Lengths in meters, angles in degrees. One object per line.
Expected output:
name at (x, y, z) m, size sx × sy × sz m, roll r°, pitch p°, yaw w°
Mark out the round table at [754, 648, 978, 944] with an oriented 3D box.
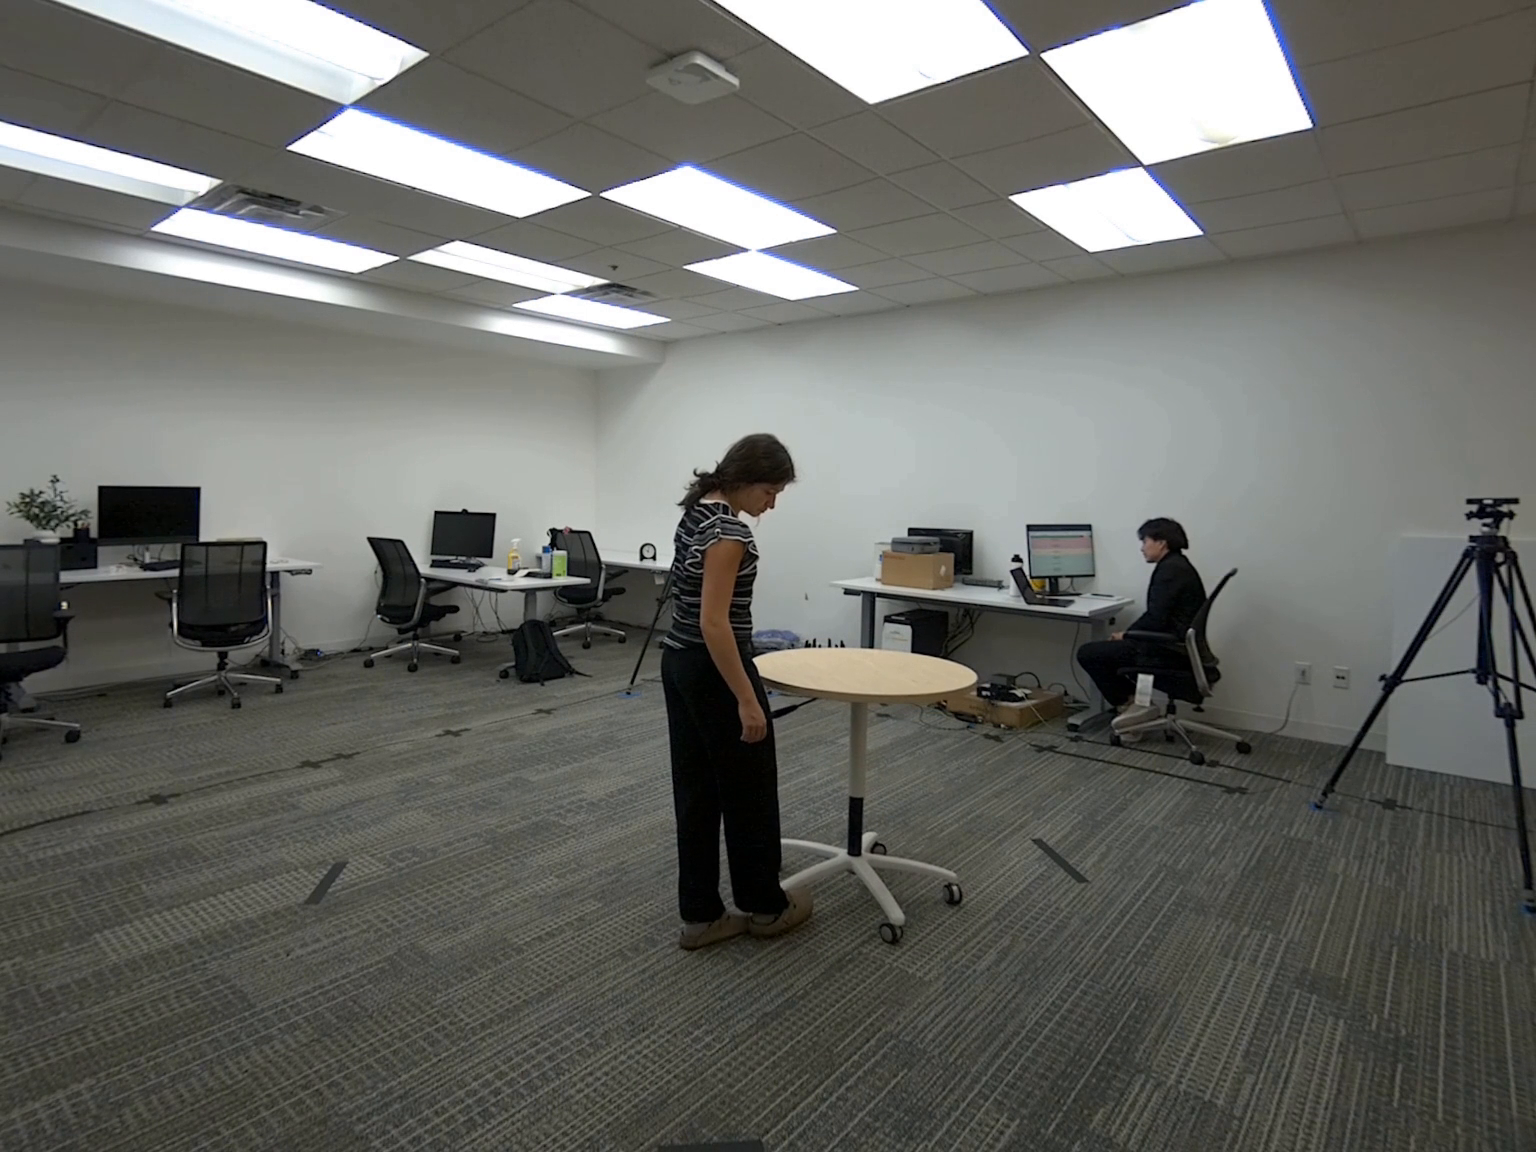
round table at (0.313, 0.703, 2.917) m, size 0.784 × 0.784 × 0.789 m, roll 2°, pitch 4°, yaw -2°
